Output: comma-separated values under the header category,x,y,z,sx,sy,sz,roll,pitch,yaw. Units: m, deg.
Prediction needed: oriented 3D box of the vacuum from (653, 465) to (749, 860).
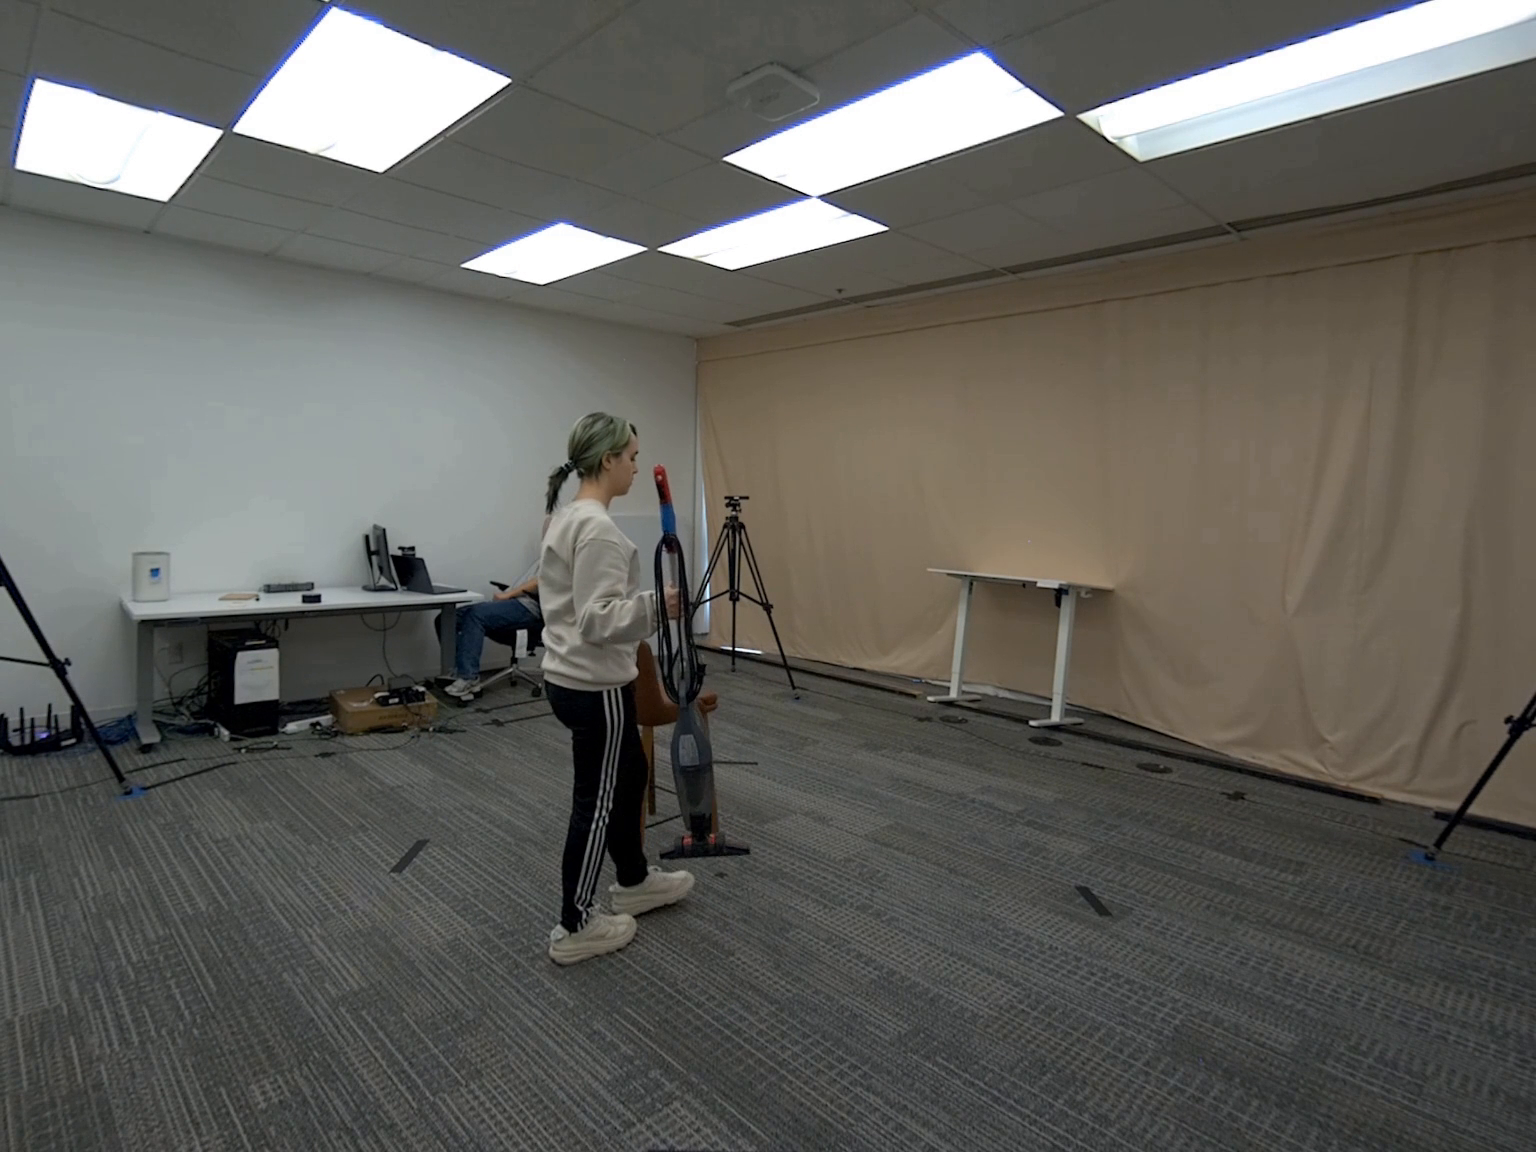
category,x,y,z,sx,sy,sz,roll,pitch,yaw
vacuum,-0.236,0.246,2.209,0.253,1.041,0.145,-5,10,0
